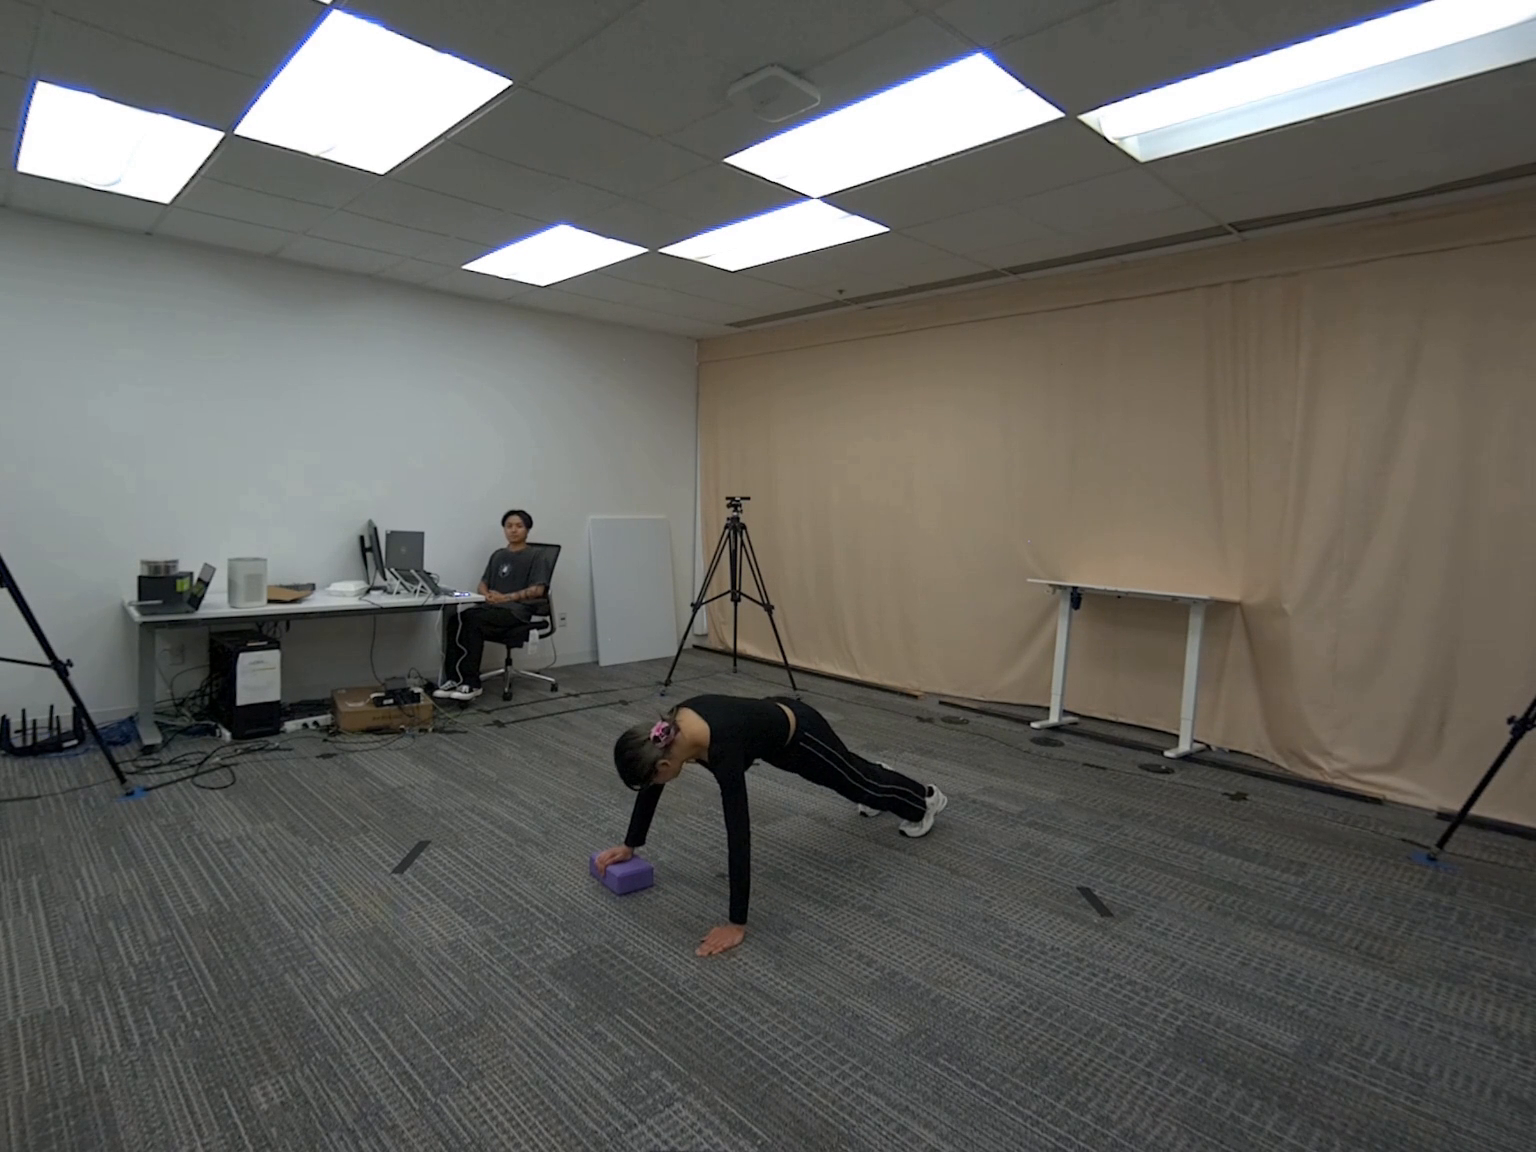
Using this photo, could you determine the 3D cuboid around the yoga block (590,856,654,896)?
[{"bbox_3d":[-0.536,1.066,3.051,0.146,0.076,0.235,-2,5,-37],"label":"yoga block"}]
